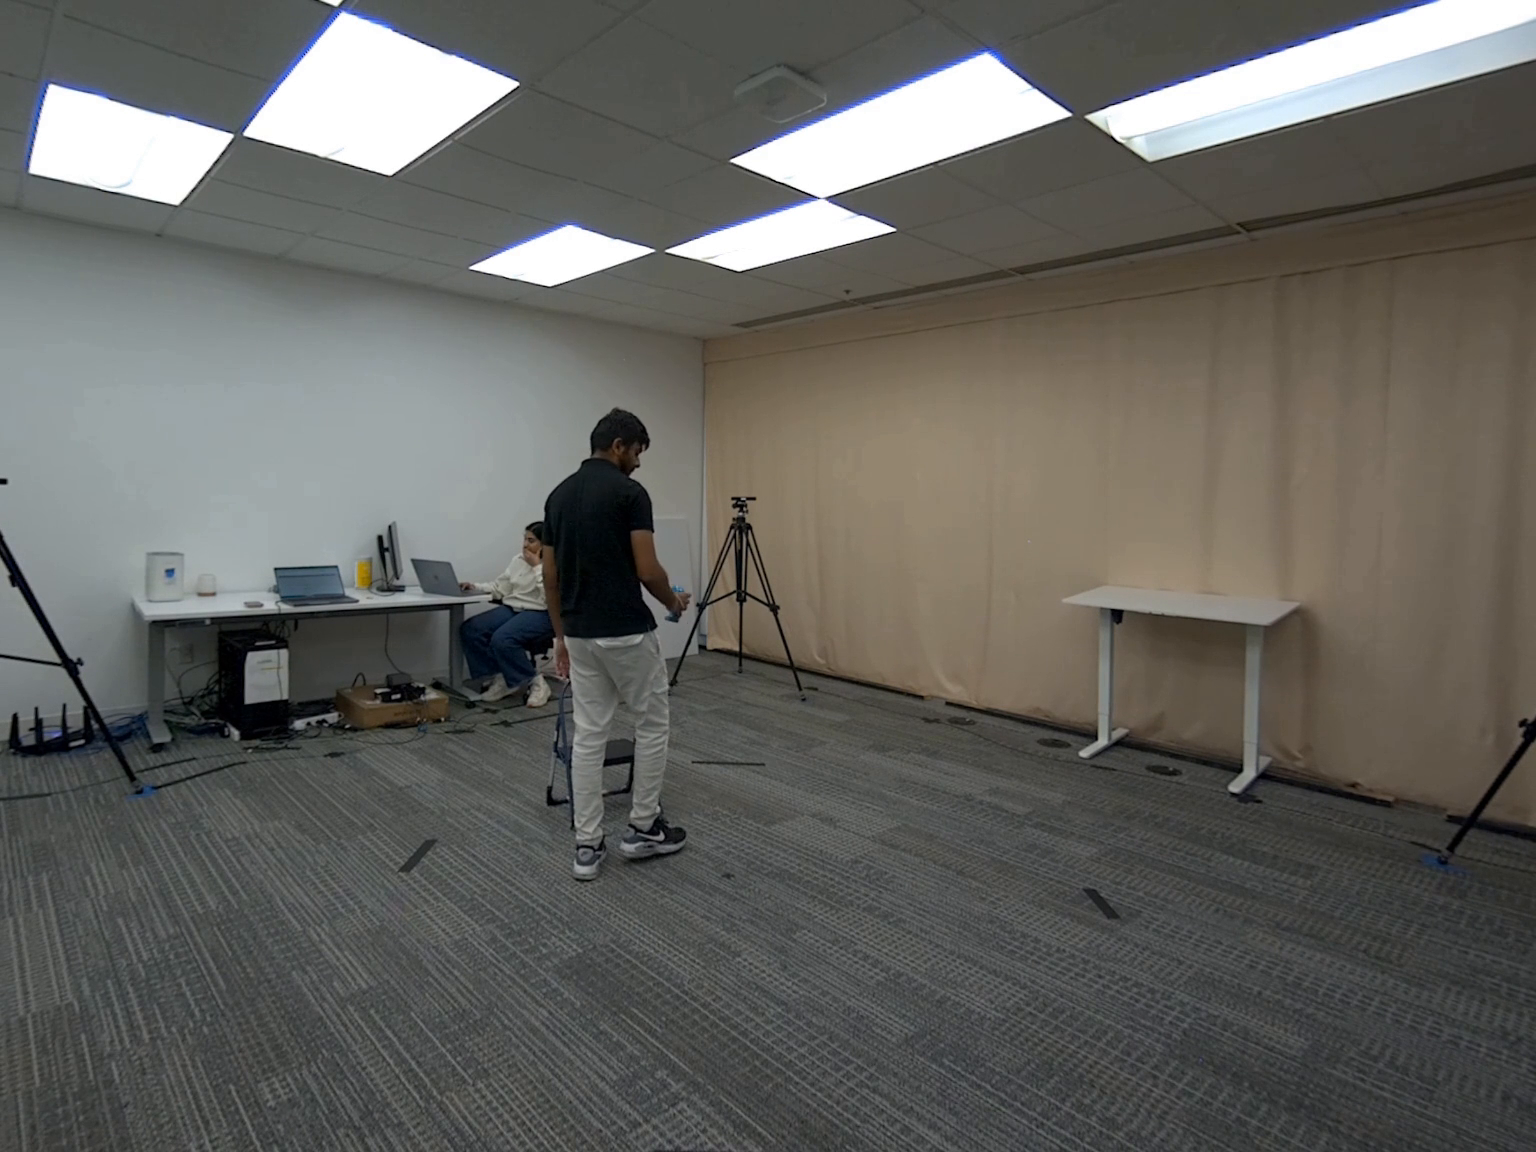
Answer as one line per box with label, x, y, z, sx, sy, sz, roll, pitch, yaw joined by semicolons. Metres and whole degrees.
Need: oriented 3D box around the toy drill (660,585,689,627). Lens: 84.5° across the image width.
toy drill;-0.381;0.114;3.408;0.060;0.146;0.172;11;0;-15
